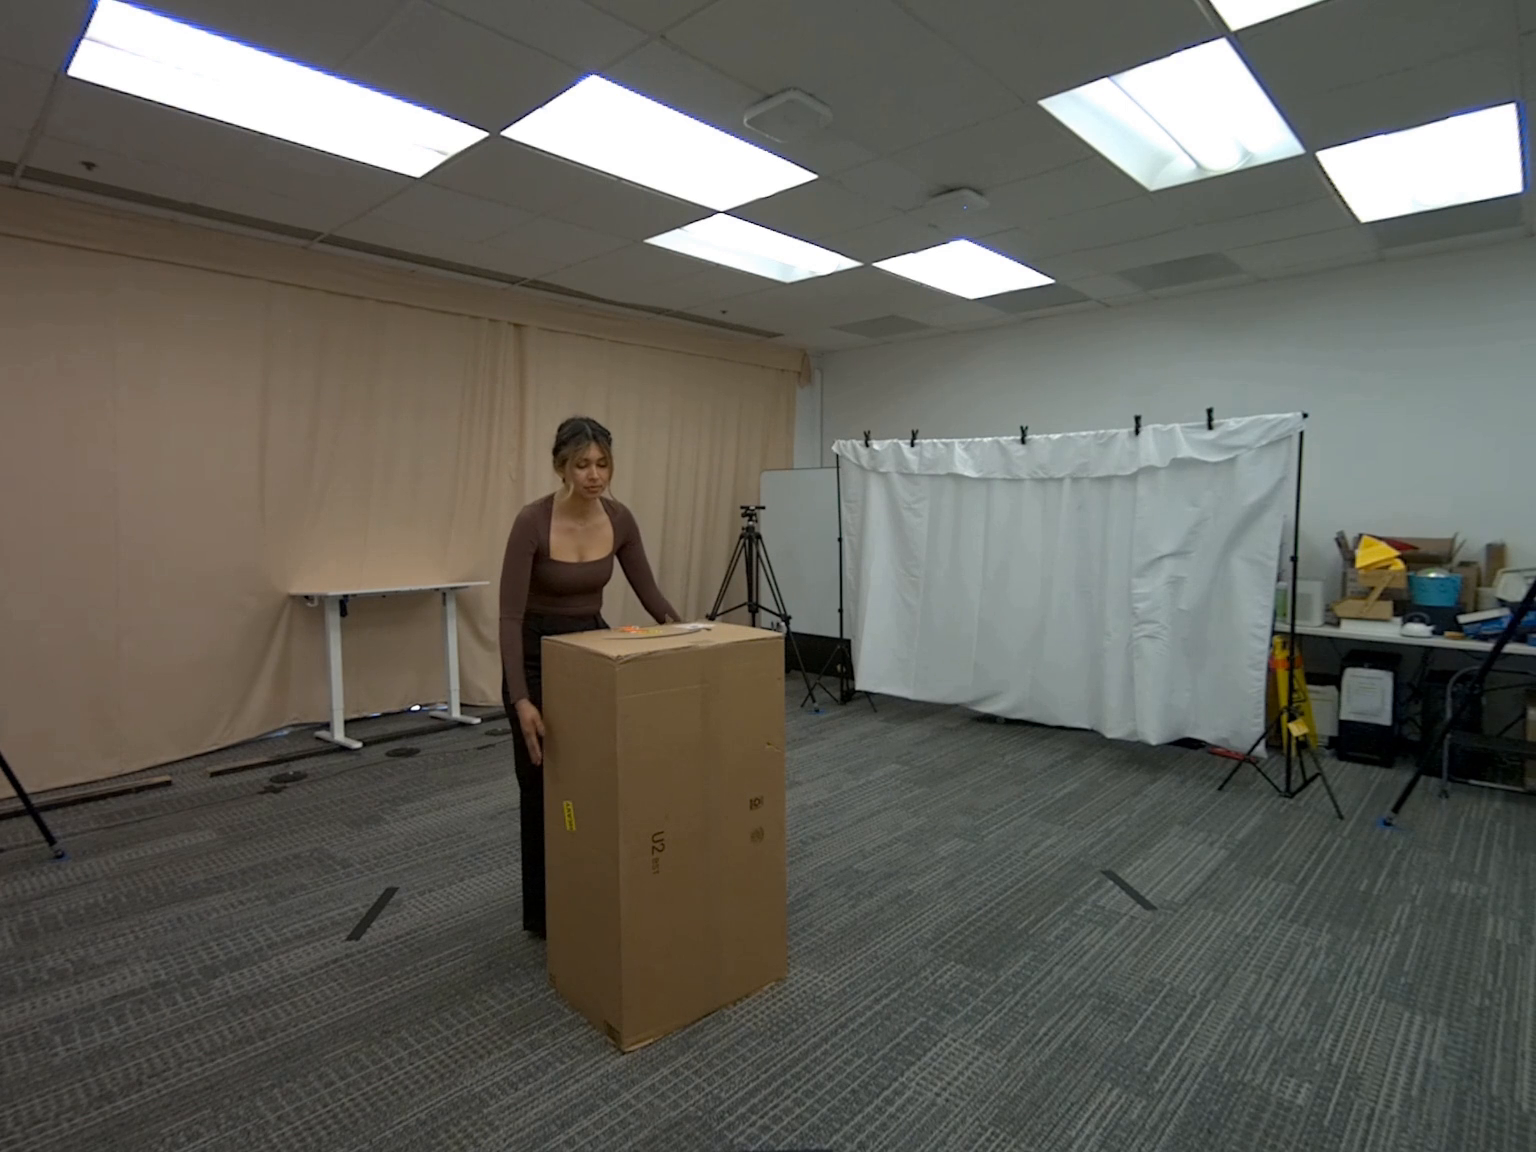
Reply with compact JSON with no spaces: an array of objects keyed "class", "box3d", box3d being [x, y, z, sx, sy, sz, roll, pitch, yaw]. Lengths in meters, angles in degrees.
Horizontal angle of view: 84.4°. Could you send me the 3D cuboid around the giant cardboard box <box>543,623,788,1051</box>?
[{"class":"giant cardboard box","box3d":[-0.291,0.681,2.453,0.566,1.025,0.461,-3,3,-39]}]
